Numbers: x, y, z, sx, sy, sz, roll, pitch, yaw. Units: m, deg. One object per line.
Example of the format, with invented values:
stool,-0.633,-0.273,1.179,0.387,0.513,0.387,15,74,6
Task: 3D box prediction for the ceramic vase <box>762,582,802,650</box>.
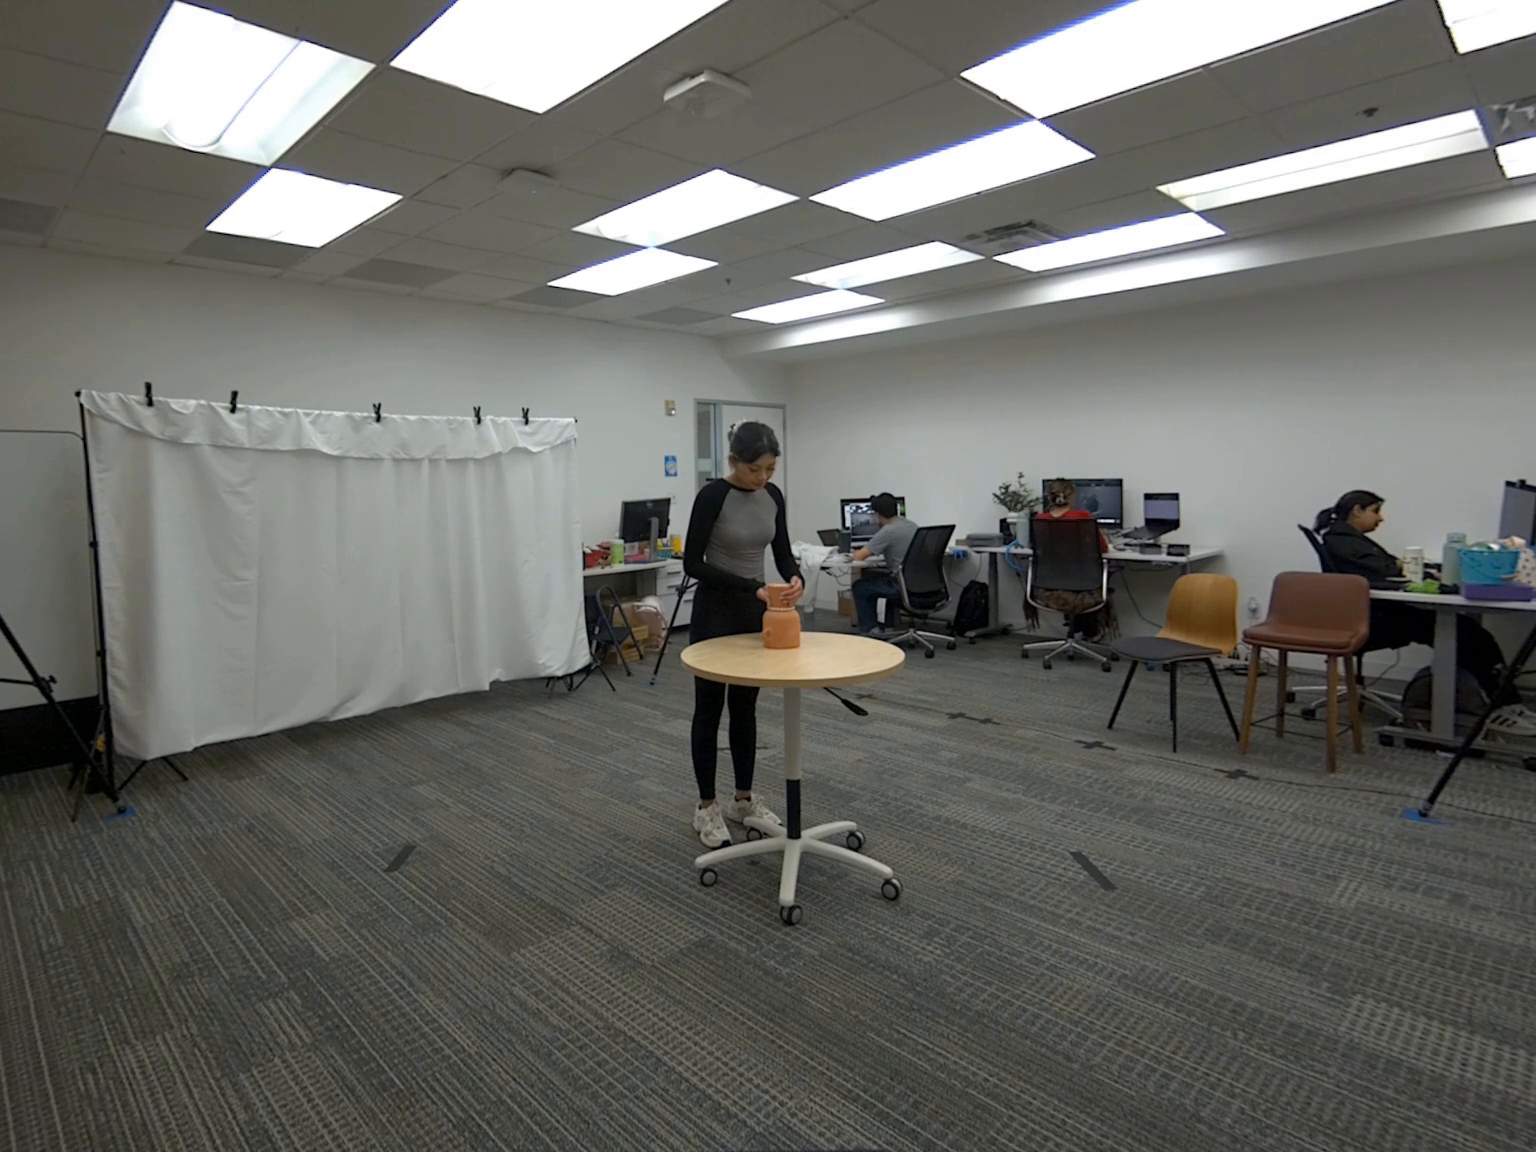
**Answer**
ceramic vase,0.047,0.136,3.072,0.136,0.219,0.158,0,4,7
